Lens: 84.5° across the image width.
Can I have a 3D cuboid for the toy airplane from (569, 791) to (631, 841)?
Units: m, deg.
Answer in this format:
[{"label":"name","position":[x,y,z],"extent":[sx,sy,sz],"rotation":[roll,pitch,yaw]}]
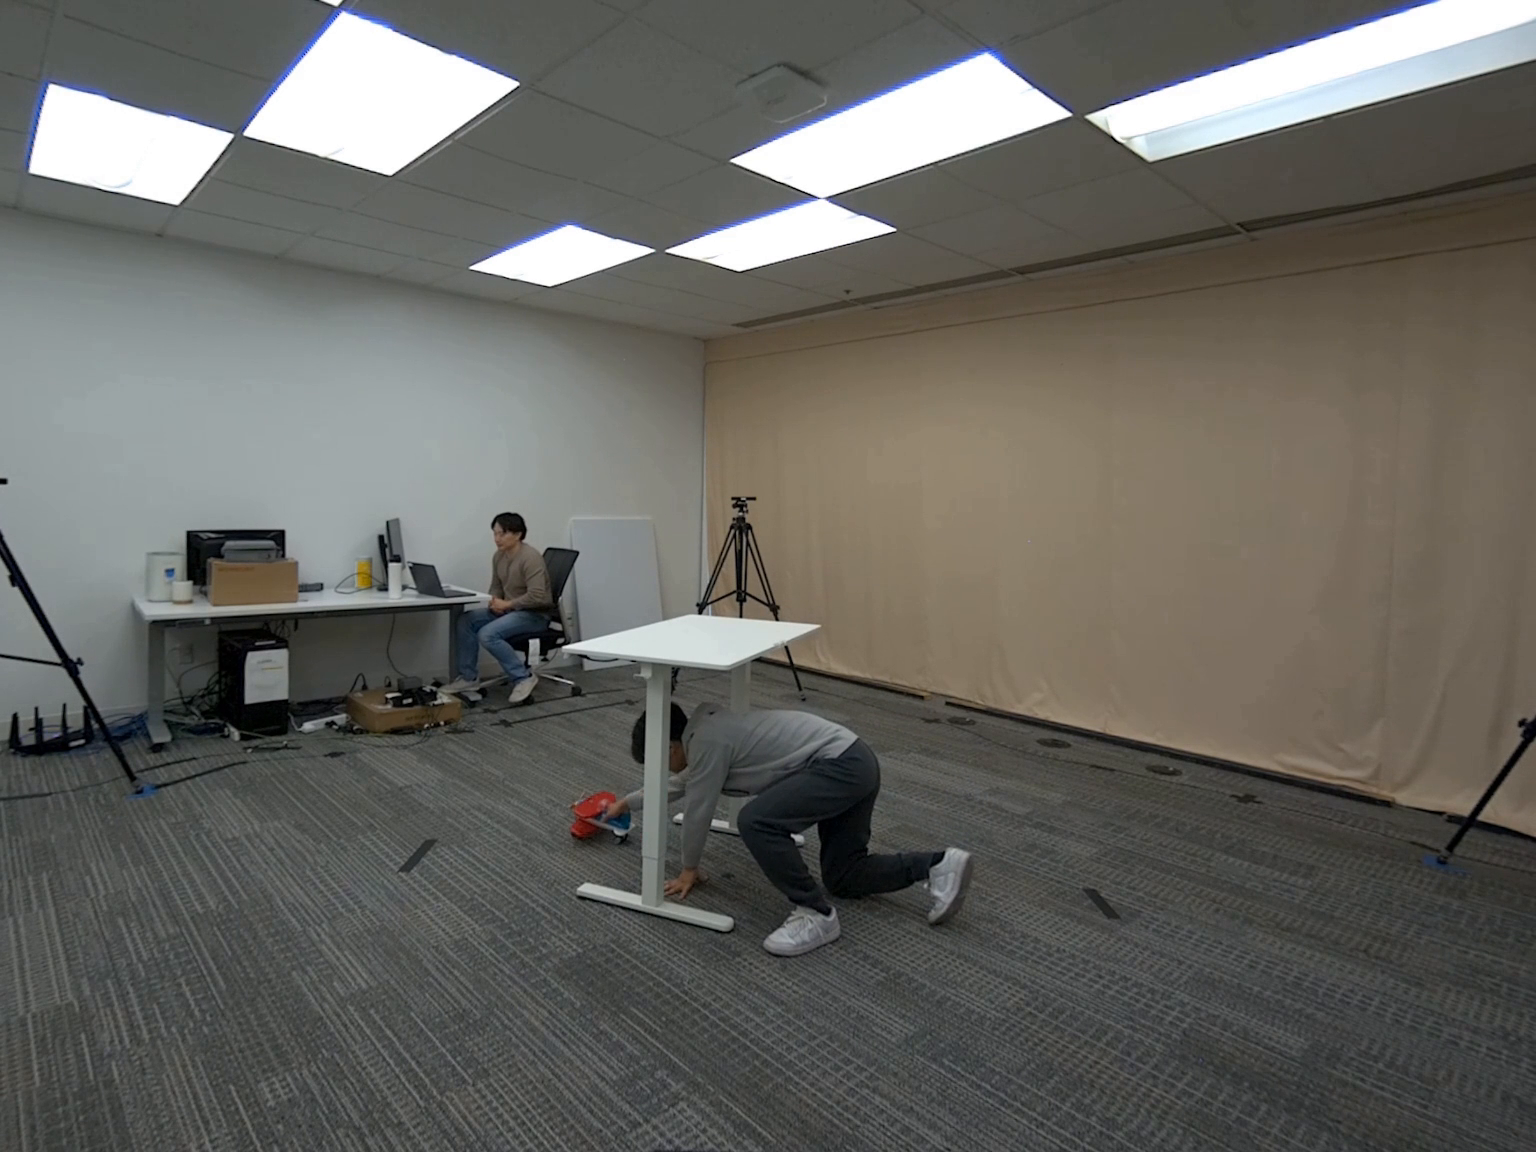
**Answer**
[{"label":"toy airplane","position":[-0.683,0.993,3.437],"extent":[0.257,0.156,0.254],"rotation":[-1,6,-8]}]
